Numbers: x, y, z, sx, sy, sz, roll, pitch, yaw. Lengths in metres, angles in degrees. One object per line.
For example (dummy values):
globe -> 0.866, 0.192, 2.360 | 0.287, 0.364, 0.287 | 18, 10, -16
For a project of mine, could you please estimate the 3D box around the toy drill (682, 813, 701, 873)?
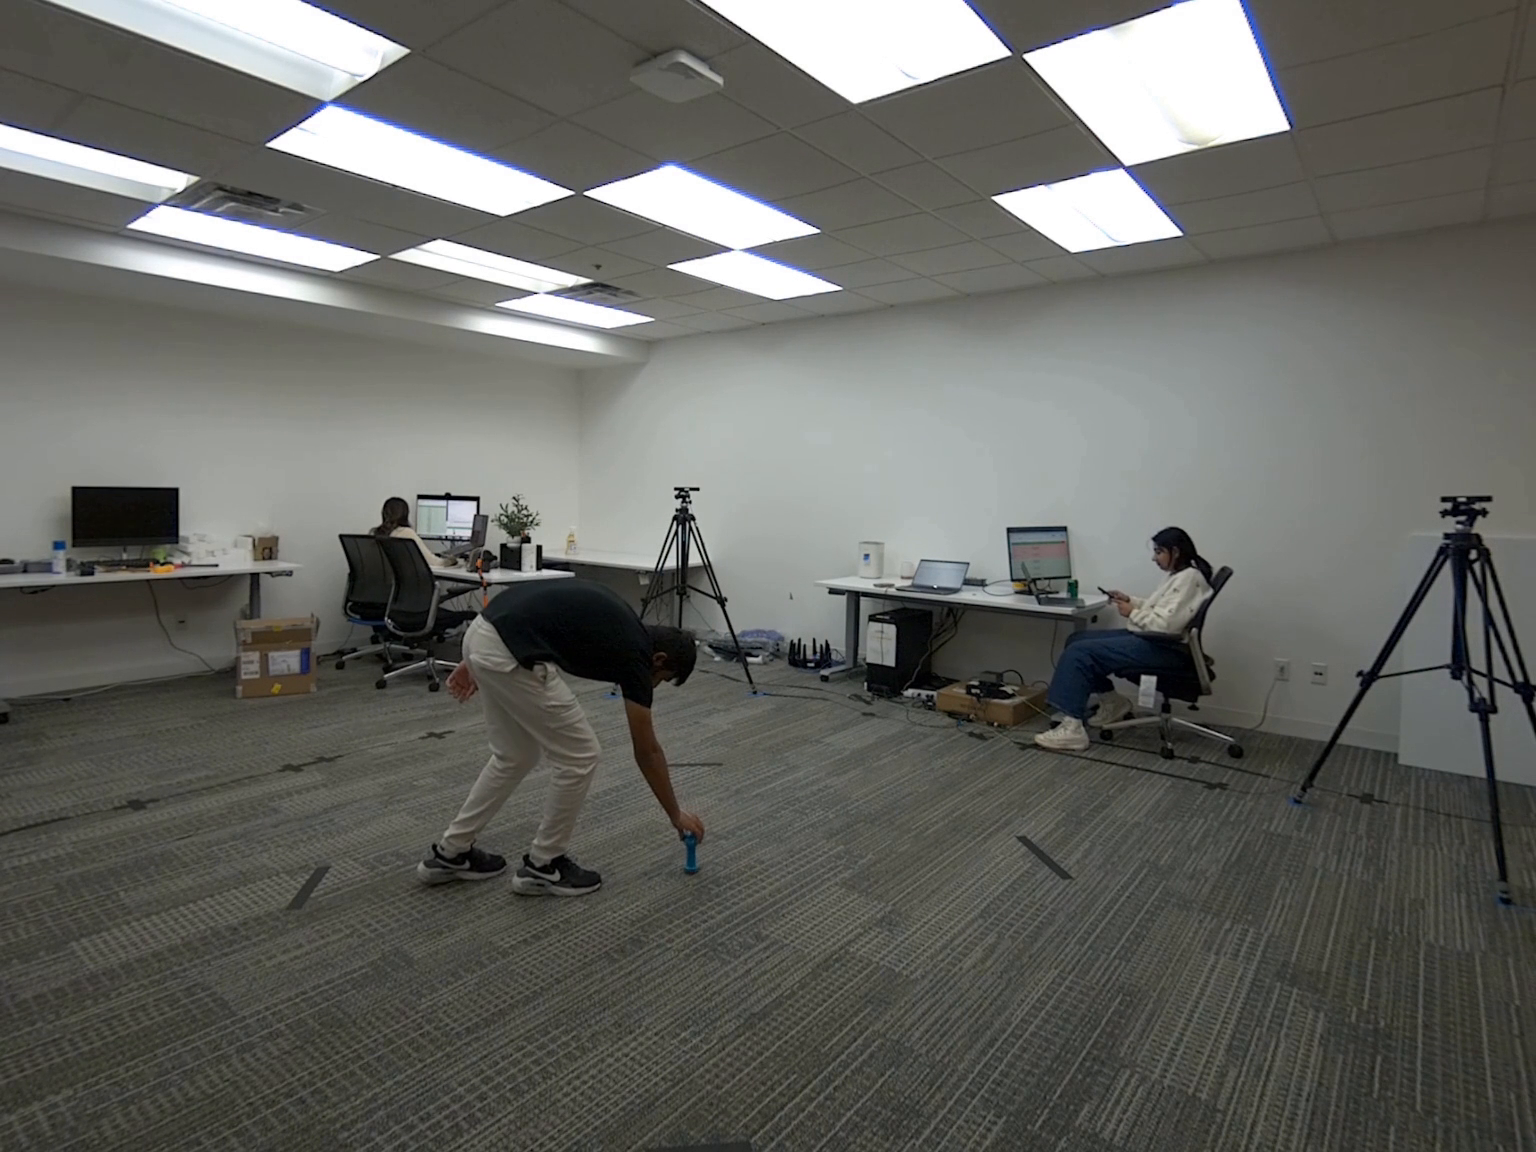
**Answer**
toy drill -> -0.286, 0.983, 3.112 | 0.061, 0.145, 0.171 | 0, 6, -6
